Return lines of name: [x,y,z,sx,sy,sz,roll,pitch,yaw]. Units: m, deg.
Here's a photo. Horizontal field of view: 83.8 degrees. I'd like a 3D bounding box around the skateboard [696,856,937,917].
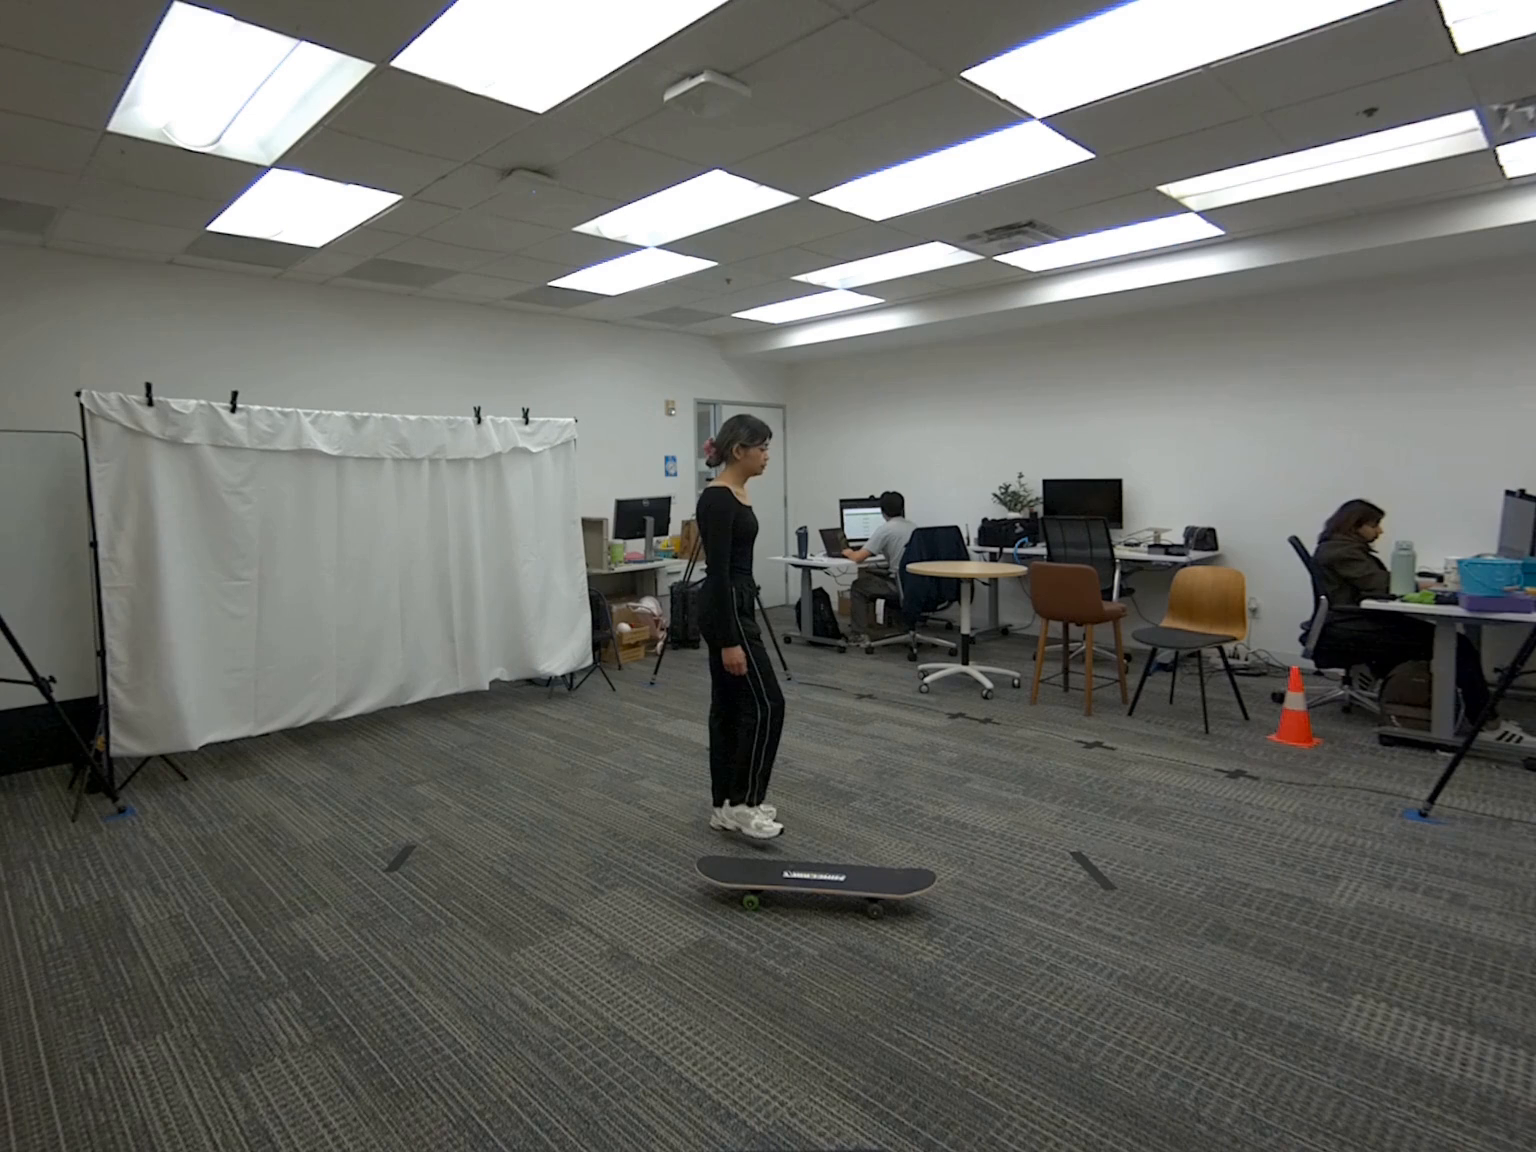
skateboard: [0.153,1.014,2.808,0.793,0.110,0.192,0,6,10]
